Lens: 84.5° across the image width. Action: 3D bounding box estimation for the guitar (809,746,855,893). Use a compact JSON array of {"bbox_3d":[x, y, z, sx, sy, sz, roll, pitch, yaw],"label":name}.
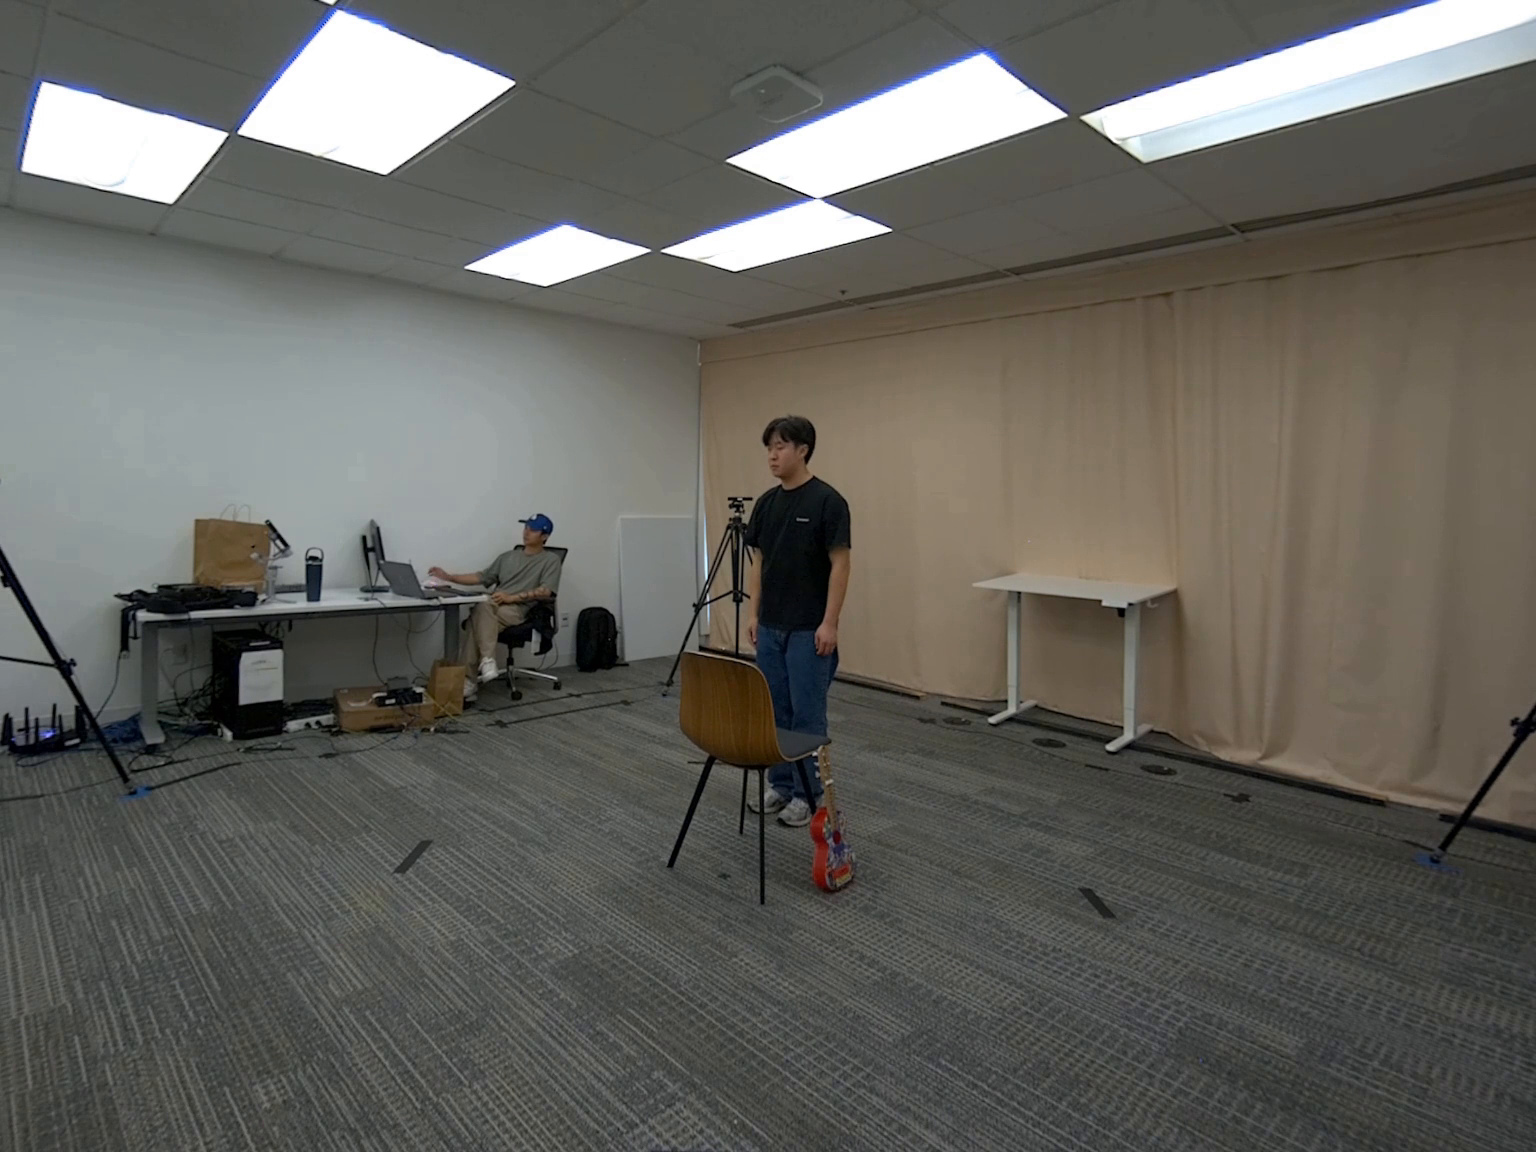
[{"bbox_3d":[0.224,0.876,3.067,0.072,0.502,0.188,-14,-15,42],"label":"guitar"}]
